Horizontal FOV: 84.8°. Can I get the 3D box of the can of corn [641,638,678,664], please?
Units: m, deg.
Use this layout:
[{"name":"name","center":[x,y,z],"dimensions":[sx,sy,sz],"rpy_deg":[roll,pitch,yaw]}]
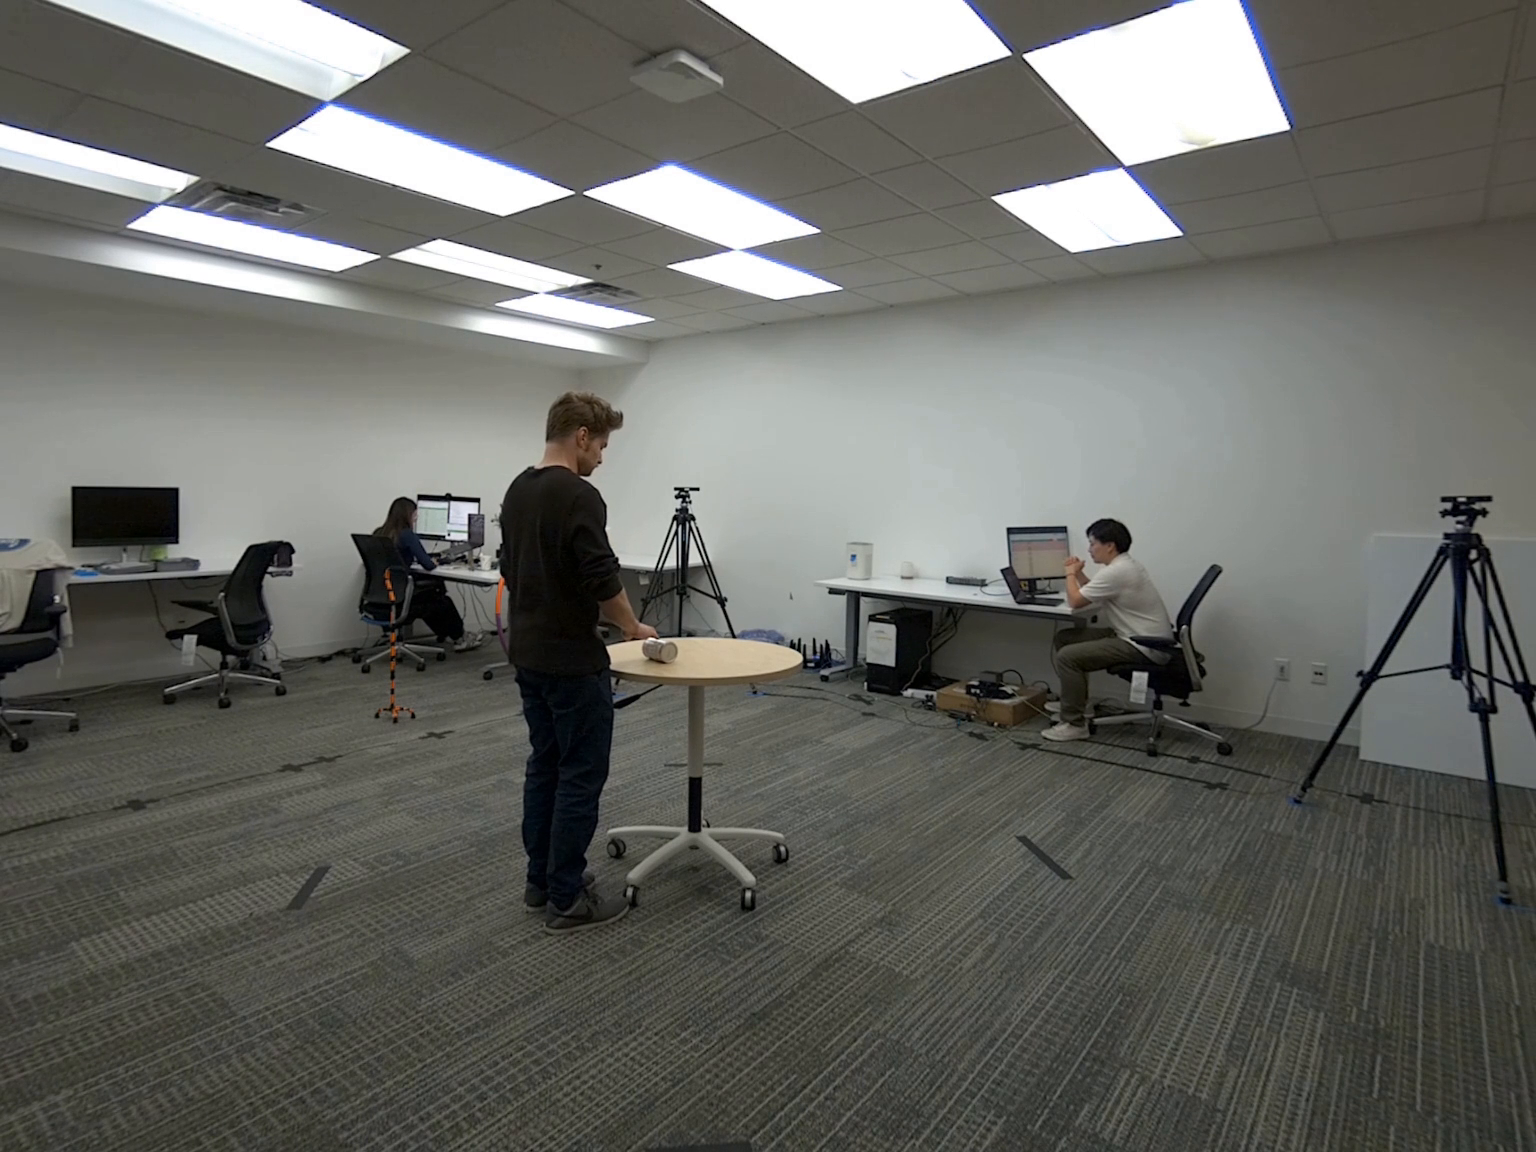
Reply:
[{"name":"can of corn","center":[-0.380,0.257,2.962],"dimensions":[0.072,0.074,0.114],"rpy_deg":[-2,4,-35]}]
